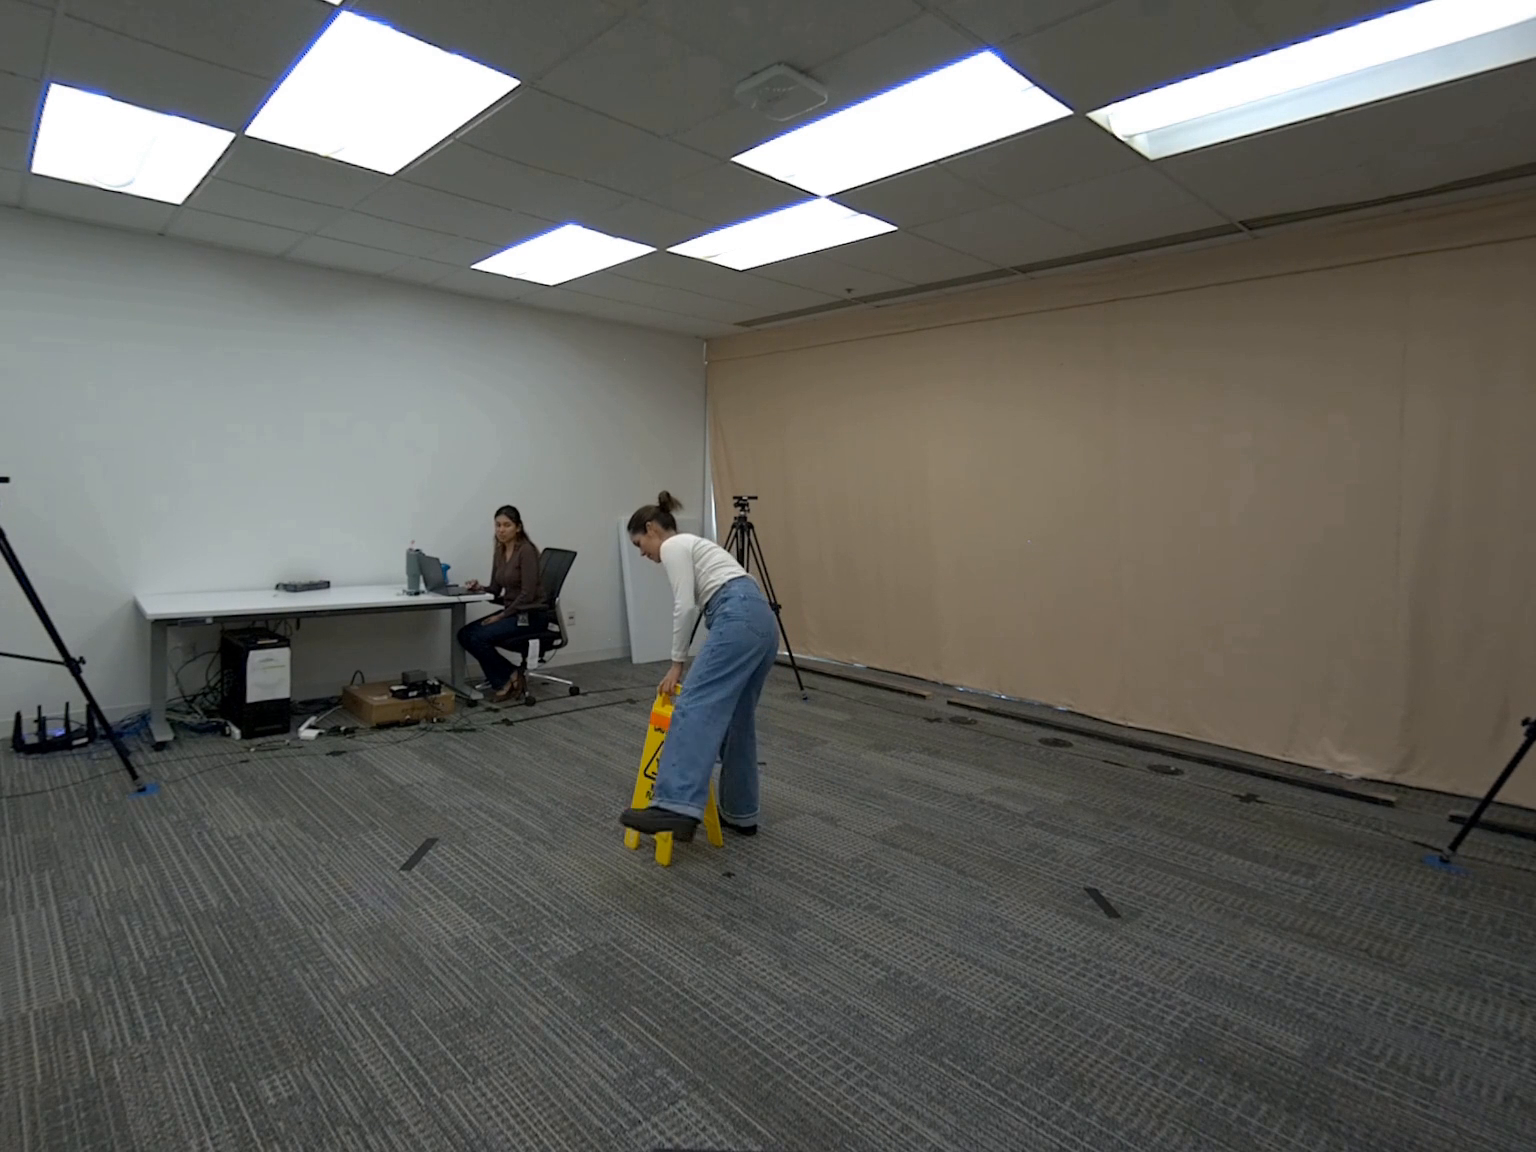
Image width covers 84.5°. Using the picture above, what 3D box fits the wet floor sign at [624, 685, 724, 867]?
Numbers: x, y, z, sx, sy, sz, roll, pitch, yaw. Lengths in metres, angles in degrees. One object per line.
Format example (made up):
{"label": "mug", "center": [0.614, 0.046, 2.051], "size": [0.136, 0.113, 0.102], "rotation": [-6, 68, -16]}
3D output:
{"label": "wet floor sign", "center": [-0.376, 0.755, 3.344], "size": [0.283, 0.645, 0.289], "rotation": [0, 3, -44]}
